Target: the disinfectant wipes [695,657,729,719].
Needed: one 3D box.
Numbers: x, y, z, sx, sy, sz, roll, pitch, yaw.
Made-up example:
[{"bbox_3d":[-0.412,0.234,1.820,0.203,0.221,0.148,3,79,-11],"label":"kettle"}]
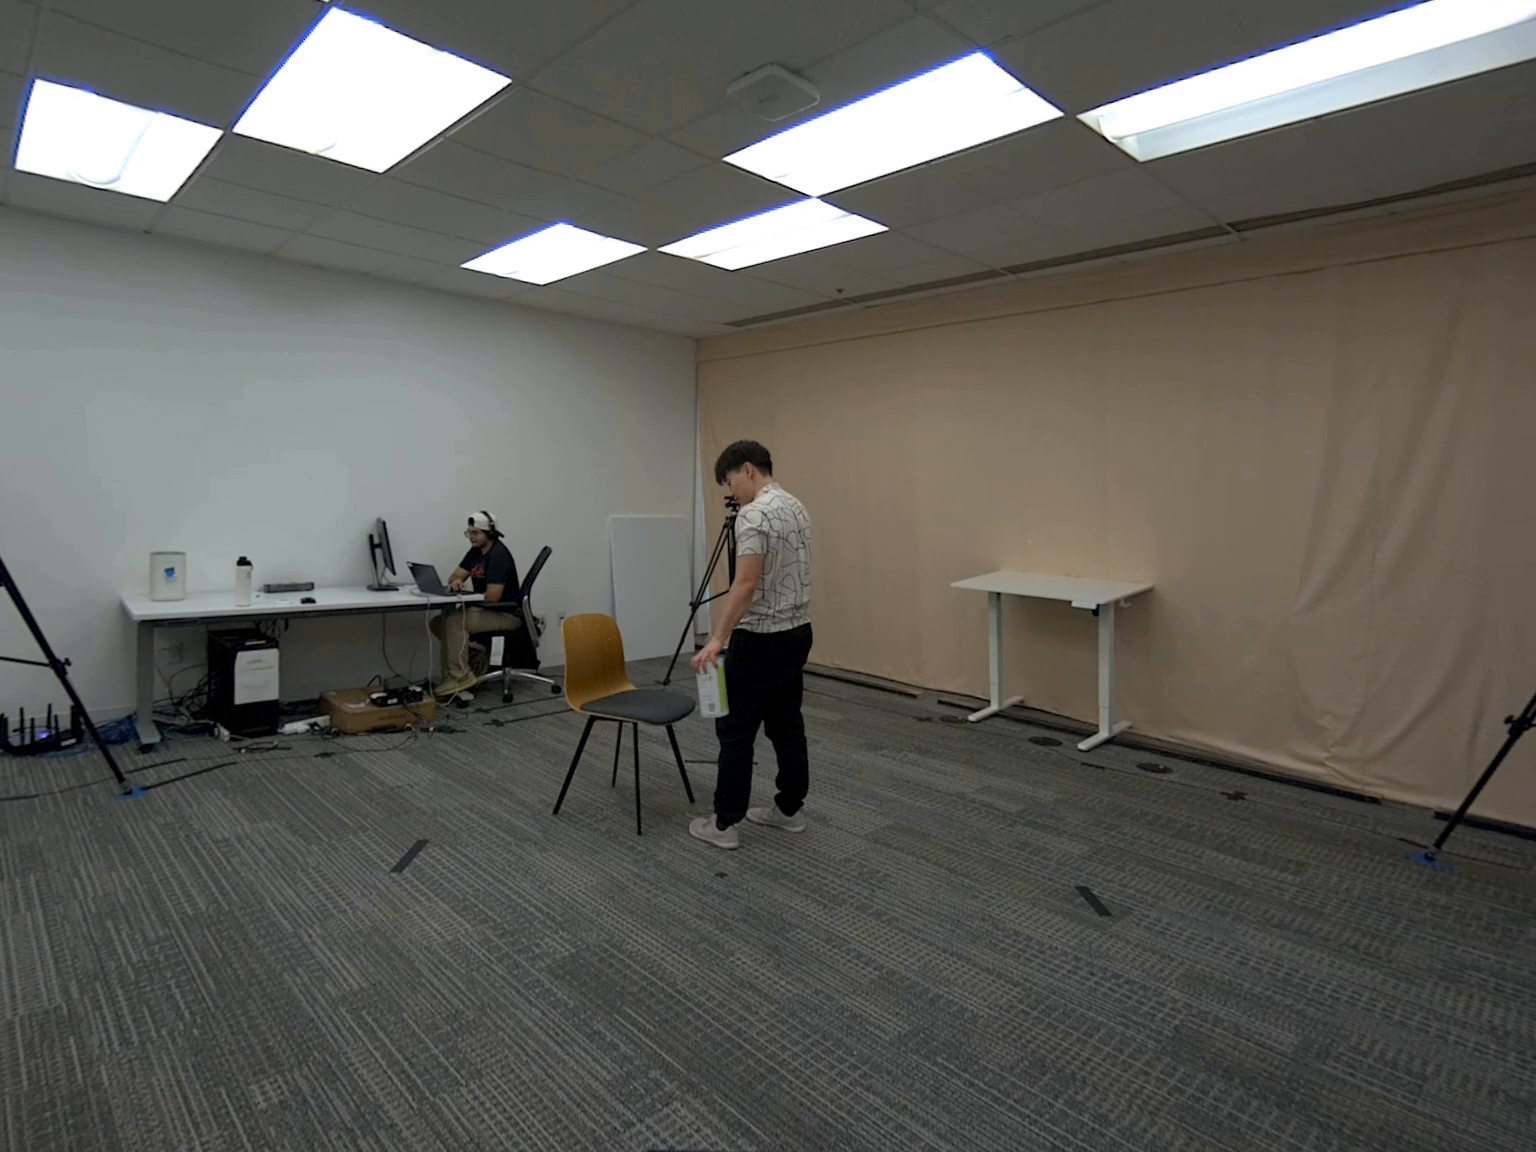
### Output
[{"bbox_3d":[-0.216,0.428,3.220,0.118,0.217,0.118,-4,2,-1],"label":"disinfectant wipes"}]
